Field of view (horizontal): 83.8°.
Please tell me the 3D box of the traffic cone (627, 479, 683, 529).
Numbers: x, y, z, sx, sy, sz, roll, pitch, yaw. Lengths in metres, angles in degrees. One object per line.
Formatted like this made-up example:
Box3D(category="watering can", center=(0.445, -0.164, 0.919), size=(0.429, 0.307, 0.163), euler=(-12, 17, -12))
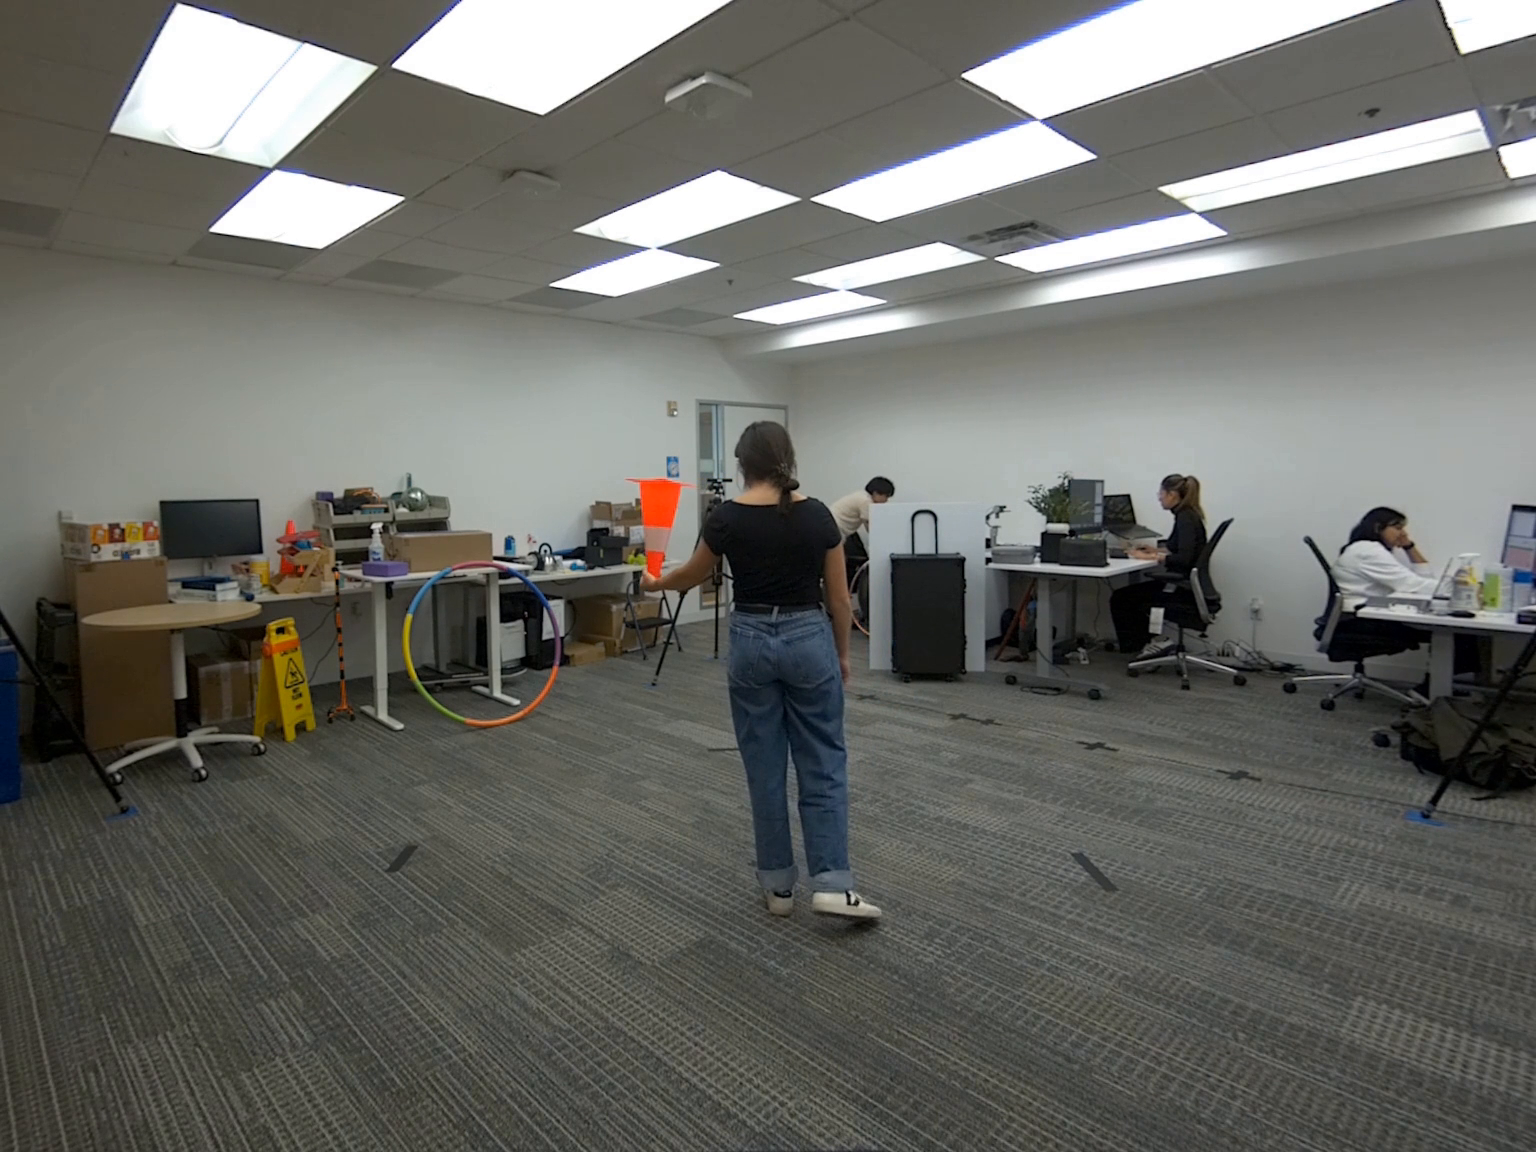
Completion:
Box3D(category="traffic cone", center=(-0.405, -0.152, 3.189), size=(0.200, 0.383, 0.209), euler=(2, 1, -31))
